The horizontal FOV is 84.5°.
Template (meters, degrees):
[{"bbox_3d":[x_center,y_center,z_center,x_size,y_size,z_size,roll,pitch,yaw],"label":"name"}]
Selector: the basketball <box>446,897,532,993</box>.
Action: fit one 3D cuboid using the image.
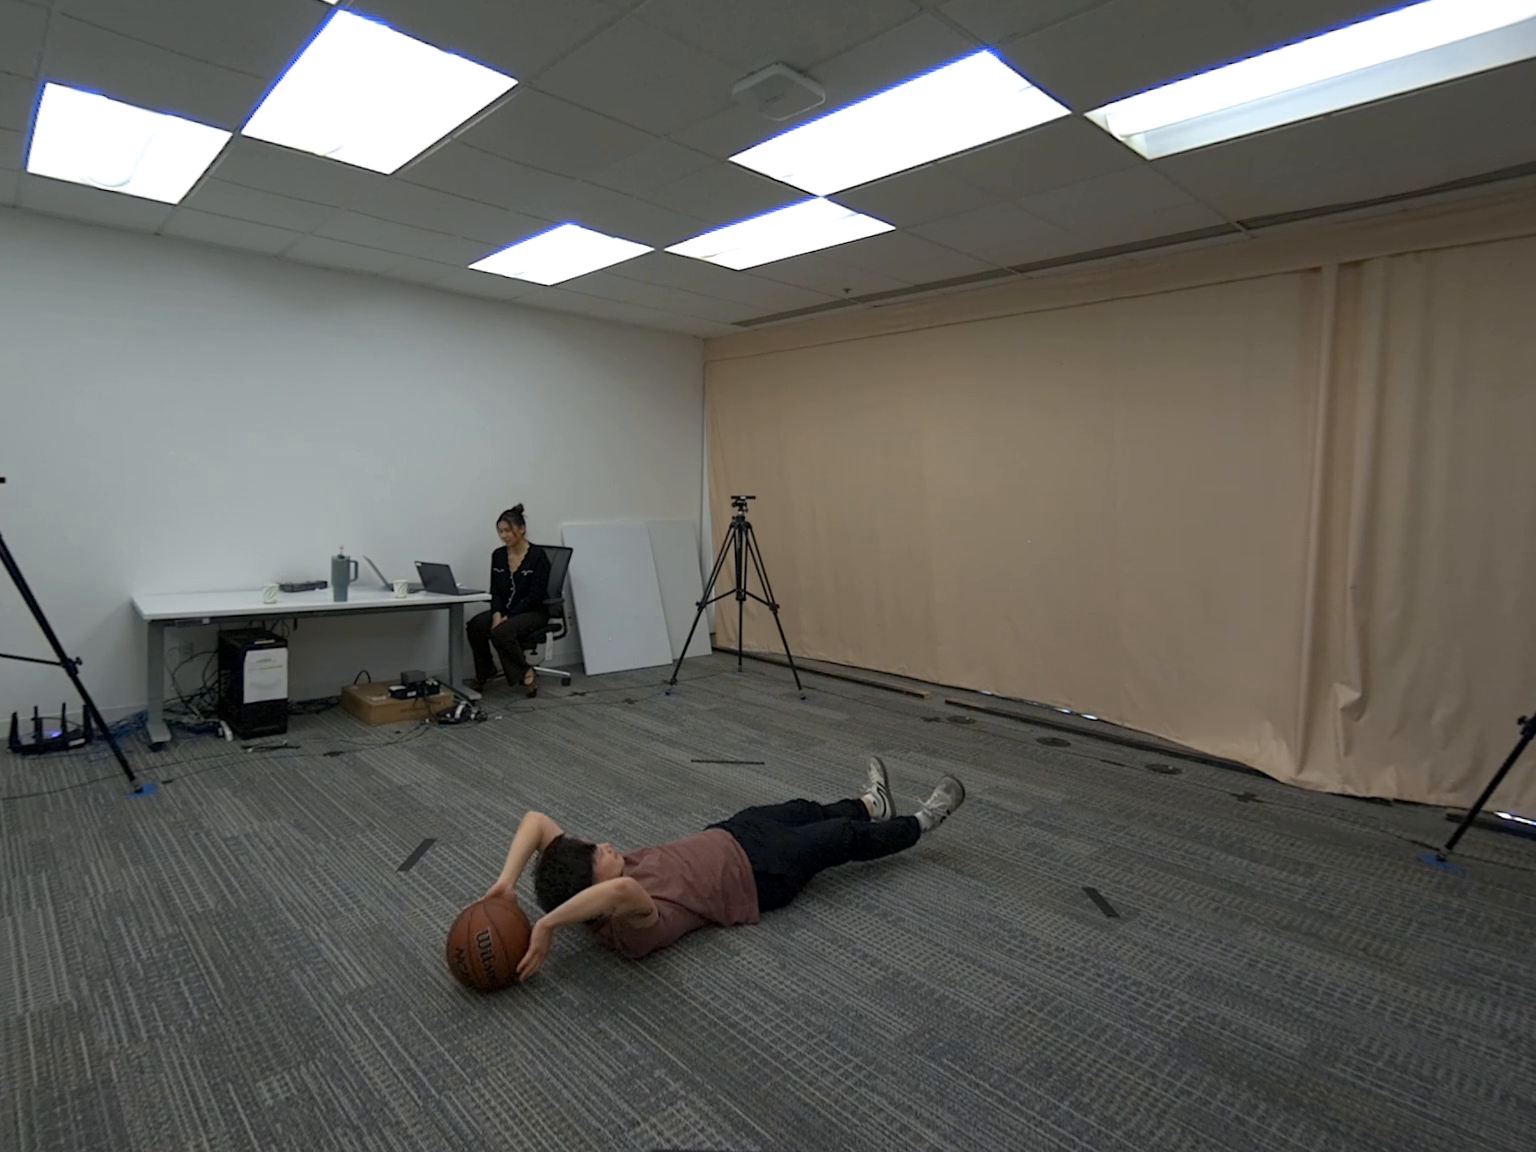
[{"bbox_3d":[-0.785,1.033,2.389,0.236,0.235,0.237,2,4,-2],"label":"basketball"}]
